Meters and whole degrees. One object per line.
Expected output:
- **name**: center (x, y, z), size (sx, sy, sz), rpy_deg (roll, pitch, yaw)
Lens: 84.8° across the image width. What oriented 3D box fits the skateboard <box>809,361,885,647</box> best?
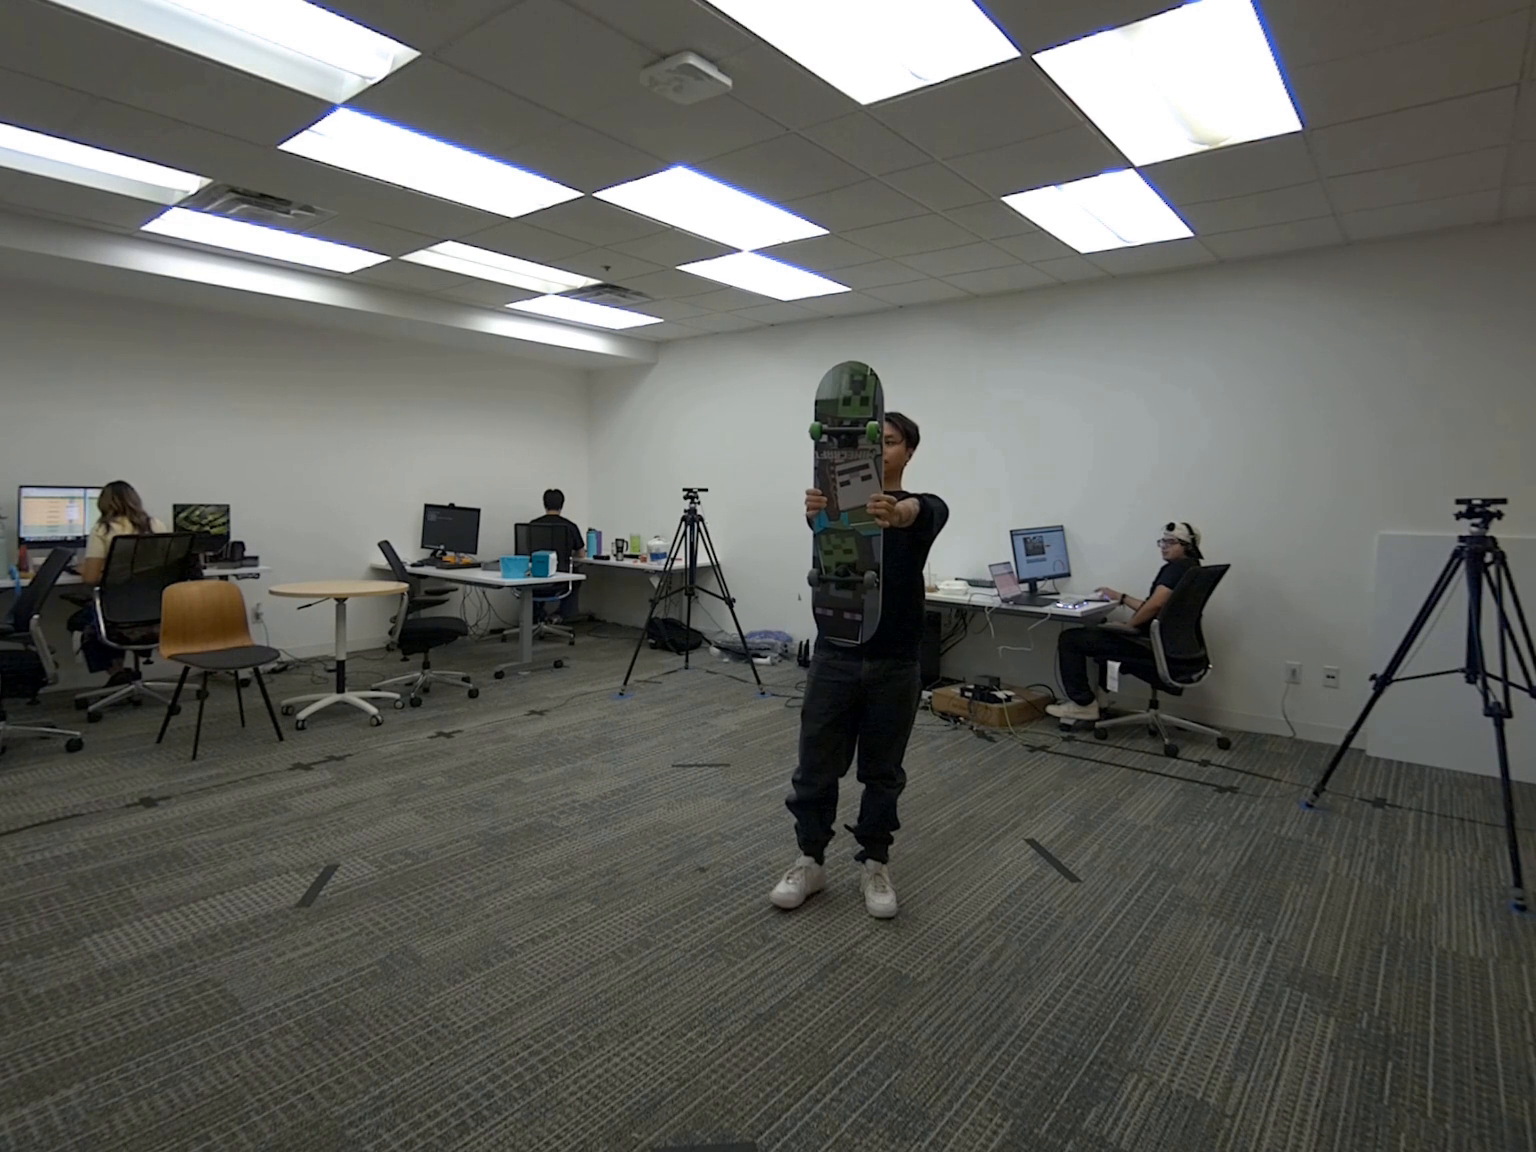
- **skateboard**: center (0.202, -0.192, 2.310), size (0.198, 0.783, 0.108), rpy_deg (2, 3, 20)
